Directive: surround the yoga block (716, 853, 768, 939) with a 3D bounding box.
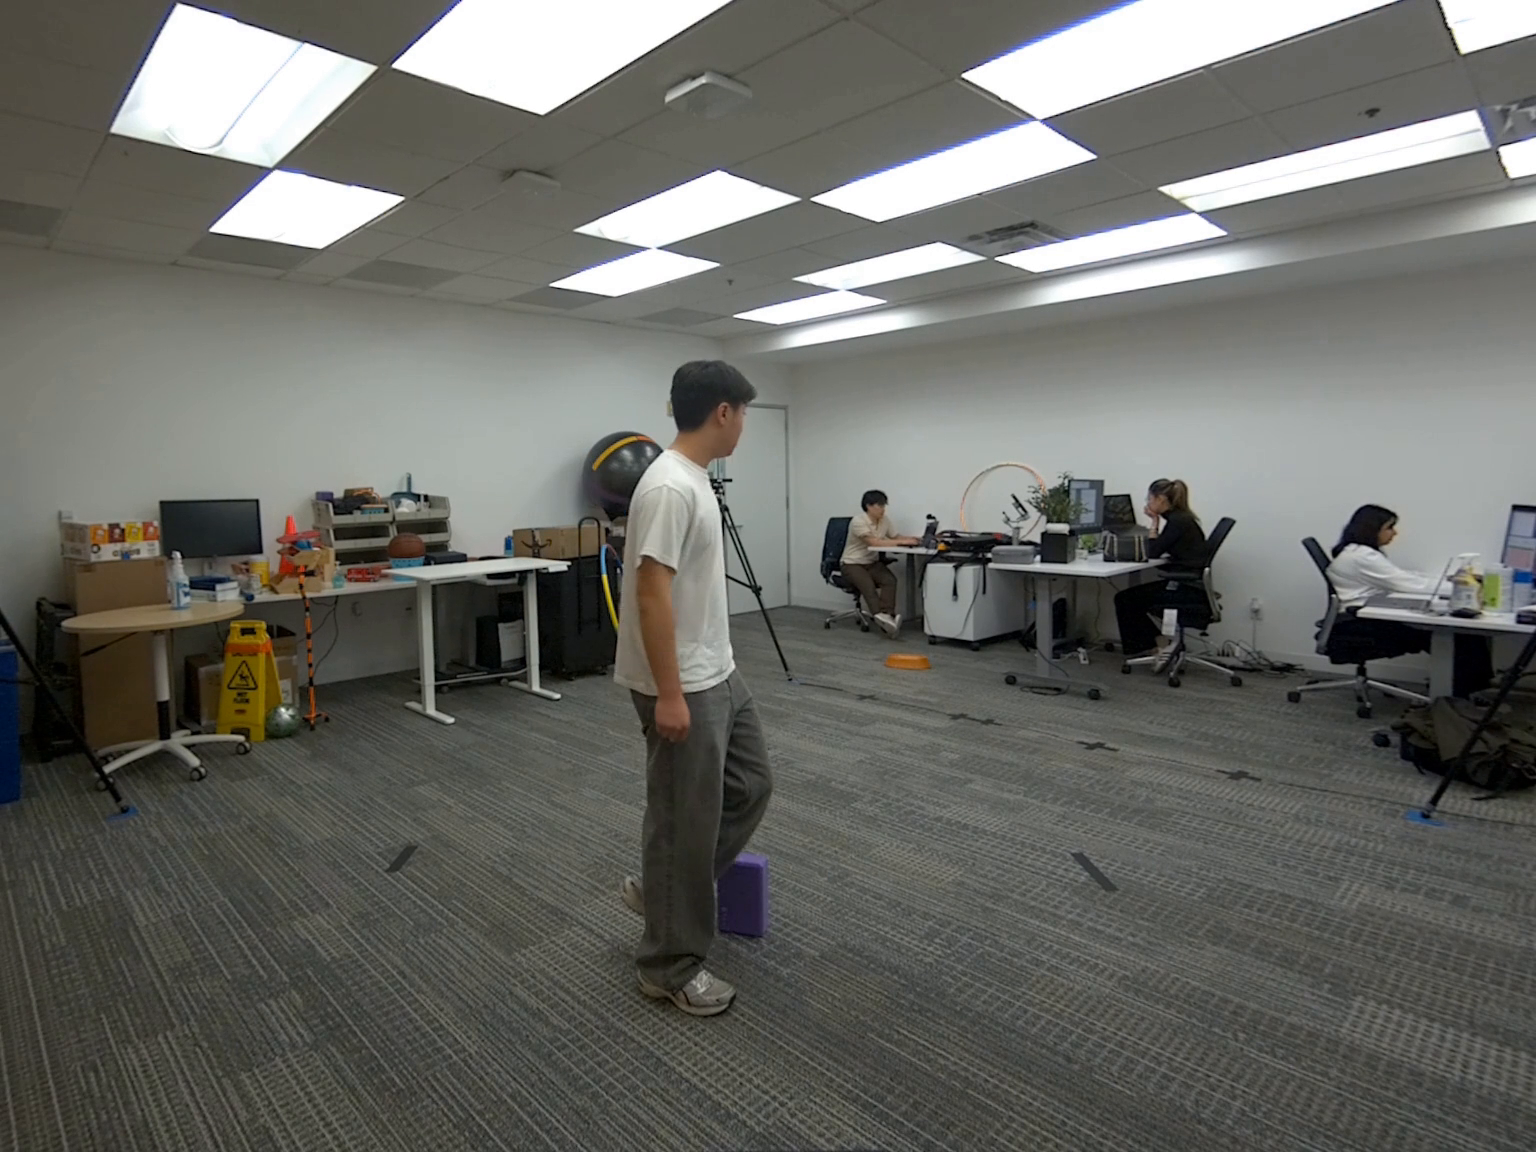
[{"bbox_3d":[-0.071,0.984,2.651,0.151,0.229,0.075,1,3,16],"label":"yoga block"}]
